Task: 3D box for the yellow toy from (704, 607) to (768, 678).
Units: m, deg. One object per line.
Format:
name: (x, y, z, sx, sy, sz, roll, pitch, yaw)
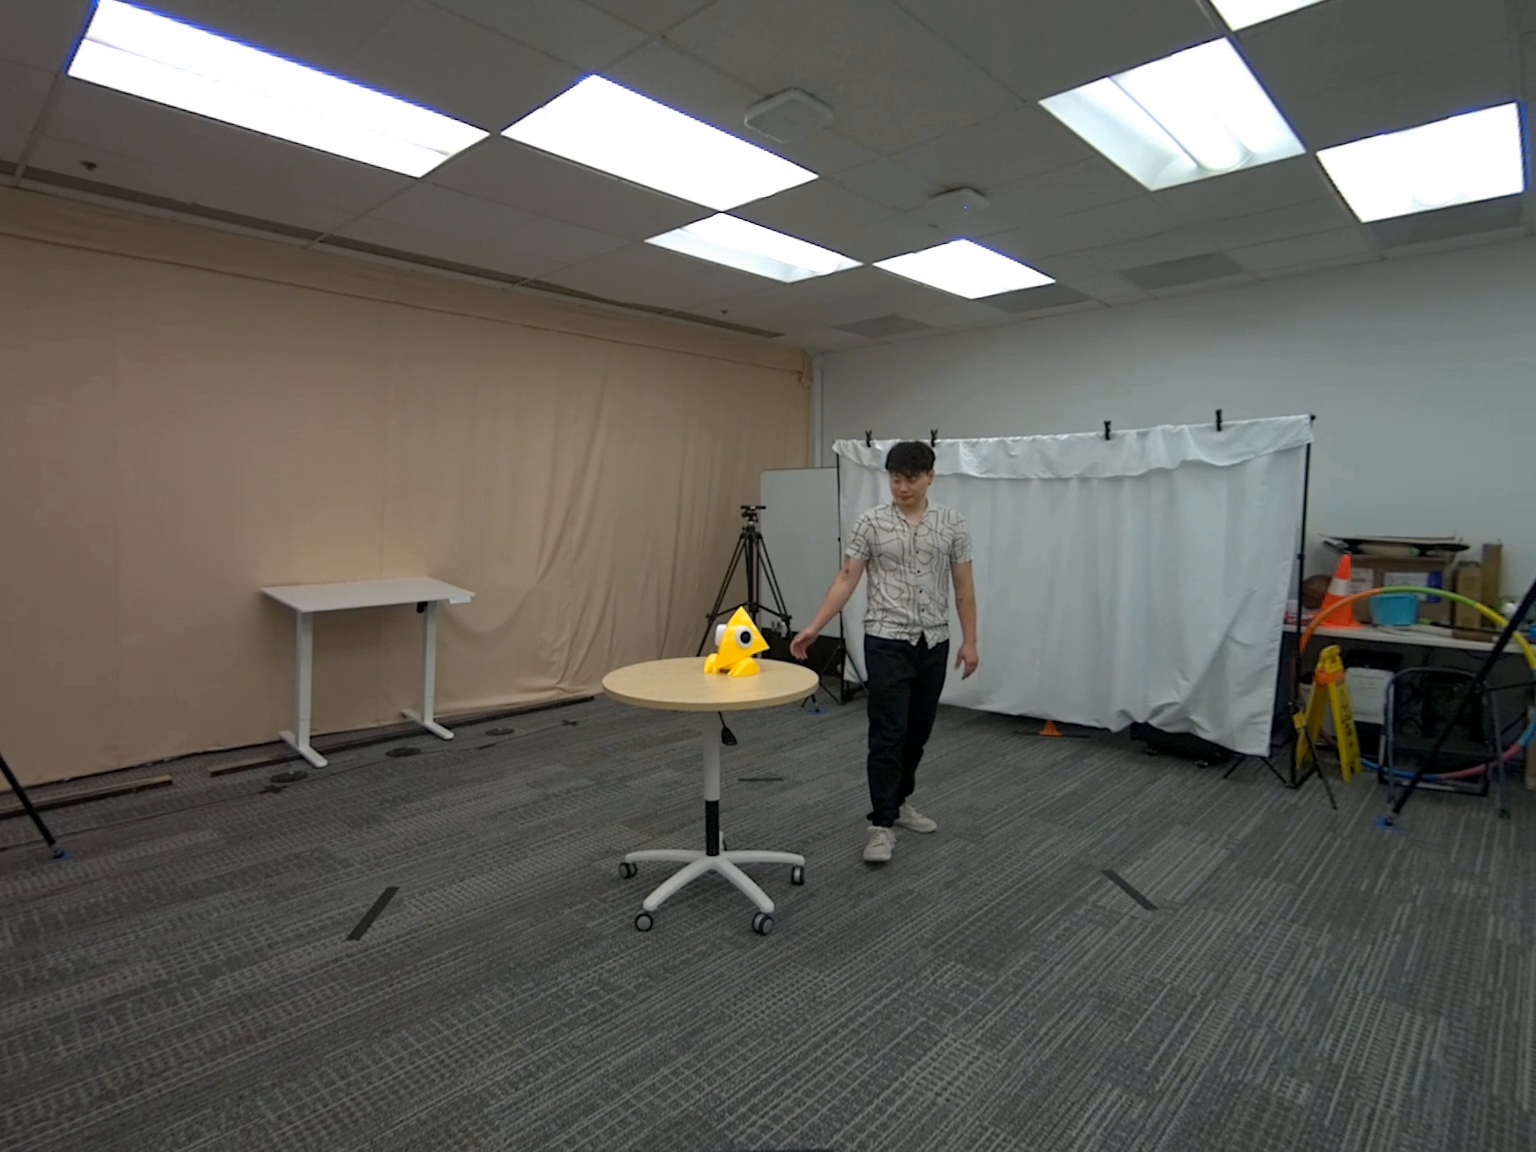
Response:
yellow toy: (-0.127, 0.236, 3.096, 0.211, 0.230, 0.188, 2, 5, 33)
